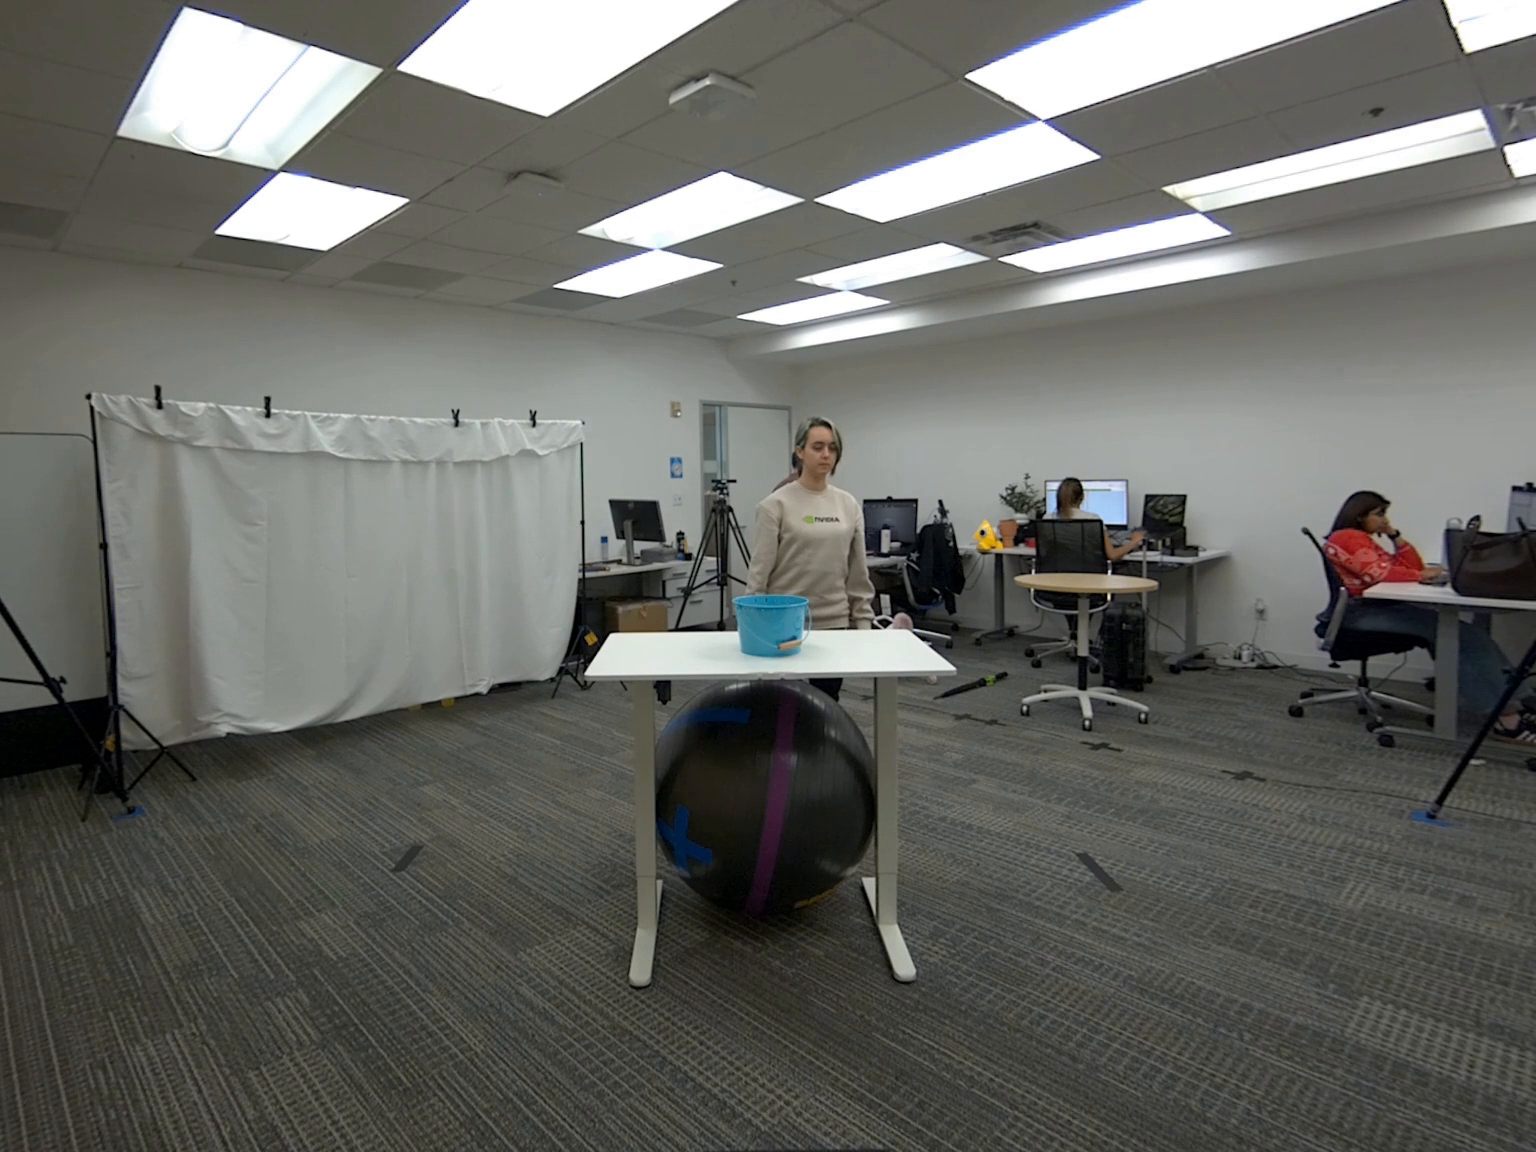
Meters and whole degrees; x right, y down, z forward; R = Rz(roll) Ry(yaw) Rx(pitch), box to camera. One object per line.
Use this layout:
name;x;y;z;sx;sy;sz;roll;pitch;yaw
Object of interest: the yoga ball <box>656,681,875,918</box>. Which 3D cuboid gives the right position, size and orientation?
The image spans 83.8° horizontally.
yoga ball;-0.016;0.709;2.816;0.757;0.755;0.762;-1;5;-2
